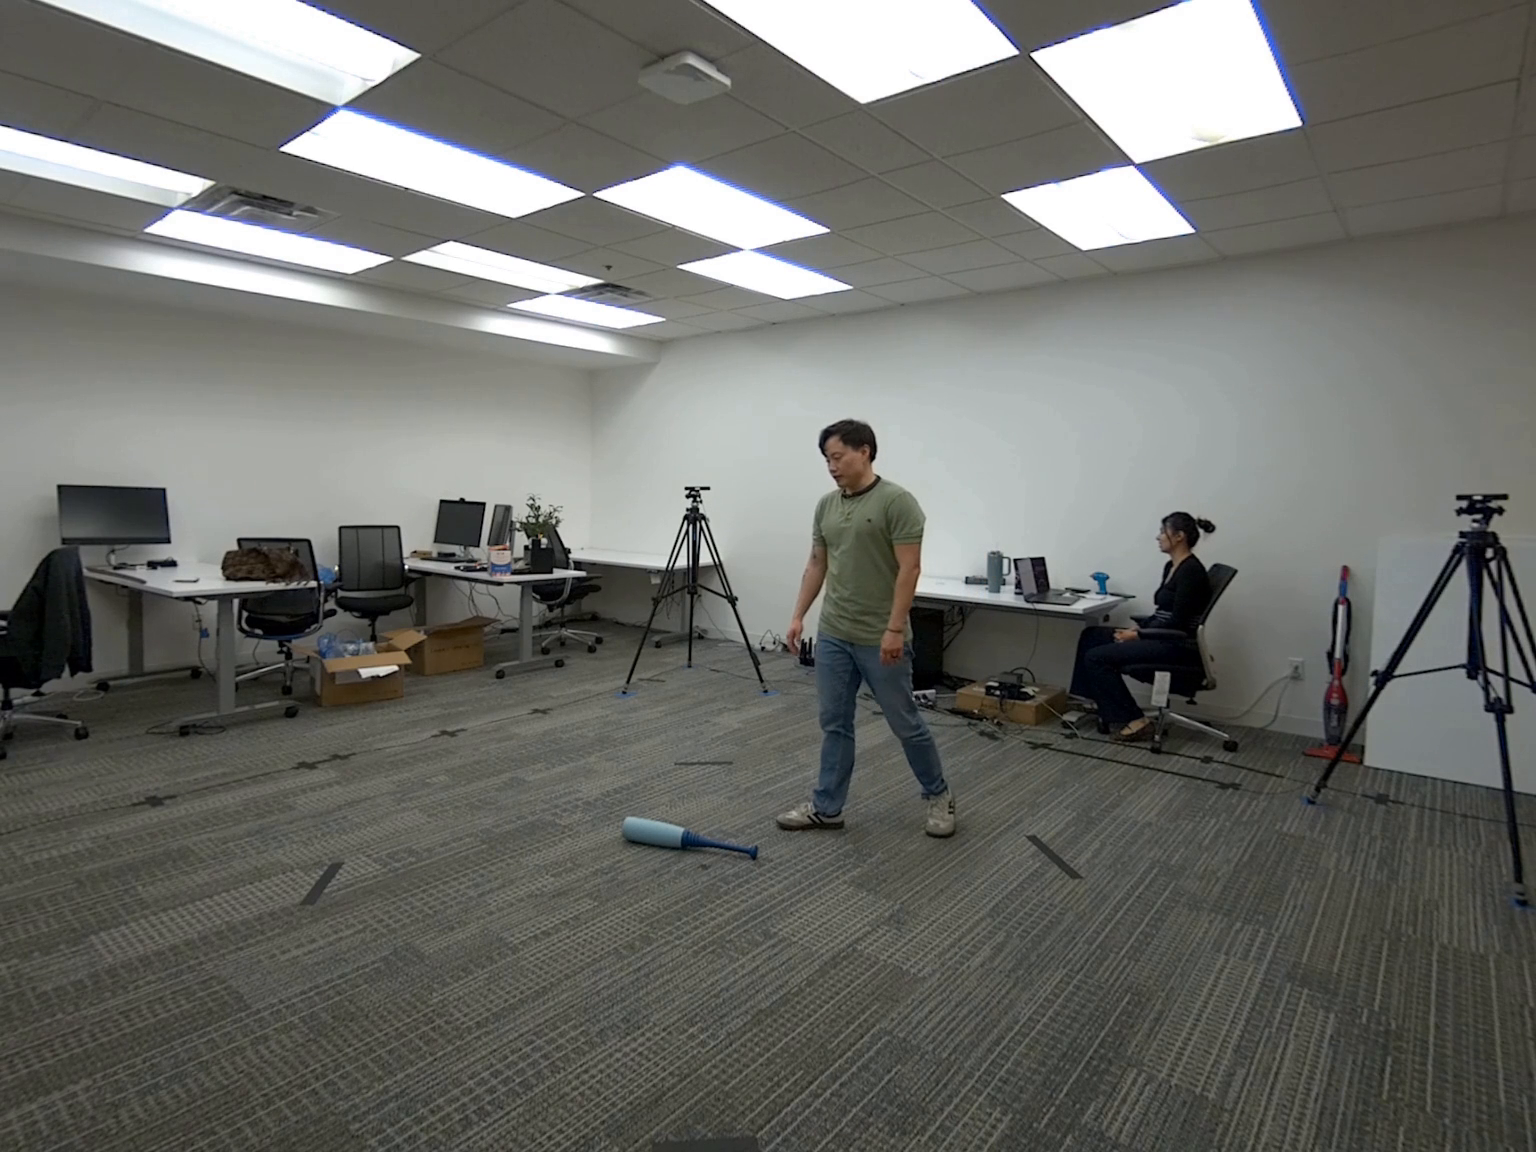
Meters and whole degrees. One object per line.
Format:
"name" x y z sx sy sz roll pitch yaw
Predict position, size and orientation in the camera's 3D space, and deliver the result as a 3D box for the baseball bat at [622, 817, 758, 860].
"baseball bat" -0.314 1.011 3.269 0.553 0.089 0.088 5 5 15
